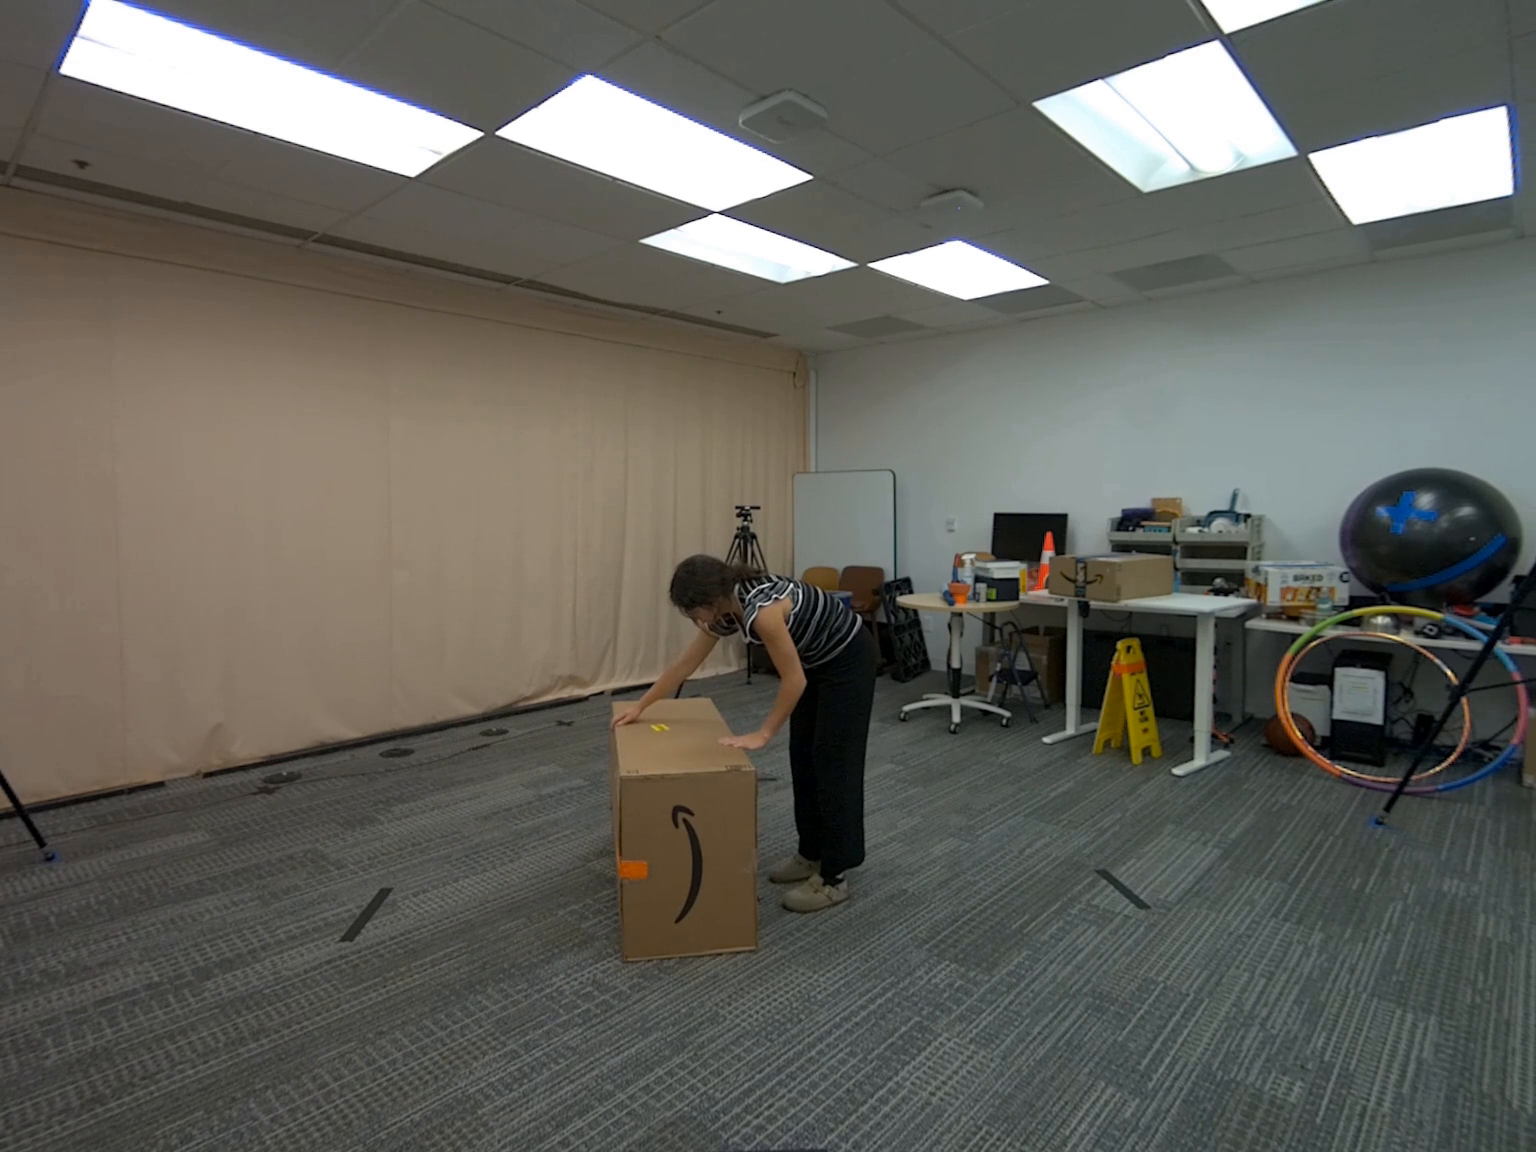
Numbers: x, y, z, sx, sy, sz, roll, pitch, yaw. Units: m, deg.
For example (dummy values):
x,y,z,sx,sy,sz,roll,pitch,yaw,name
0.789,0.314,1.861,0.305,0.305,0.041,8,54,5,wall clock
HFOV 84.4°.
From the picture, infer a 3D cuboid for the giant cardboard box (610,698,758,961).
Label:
x,y,z,sx,sy,sz,roll,pitch,yaw,name
-0.349,0.844,3.091,0.422,0.576,1.038,-1,4,-11,giant cardboard box
